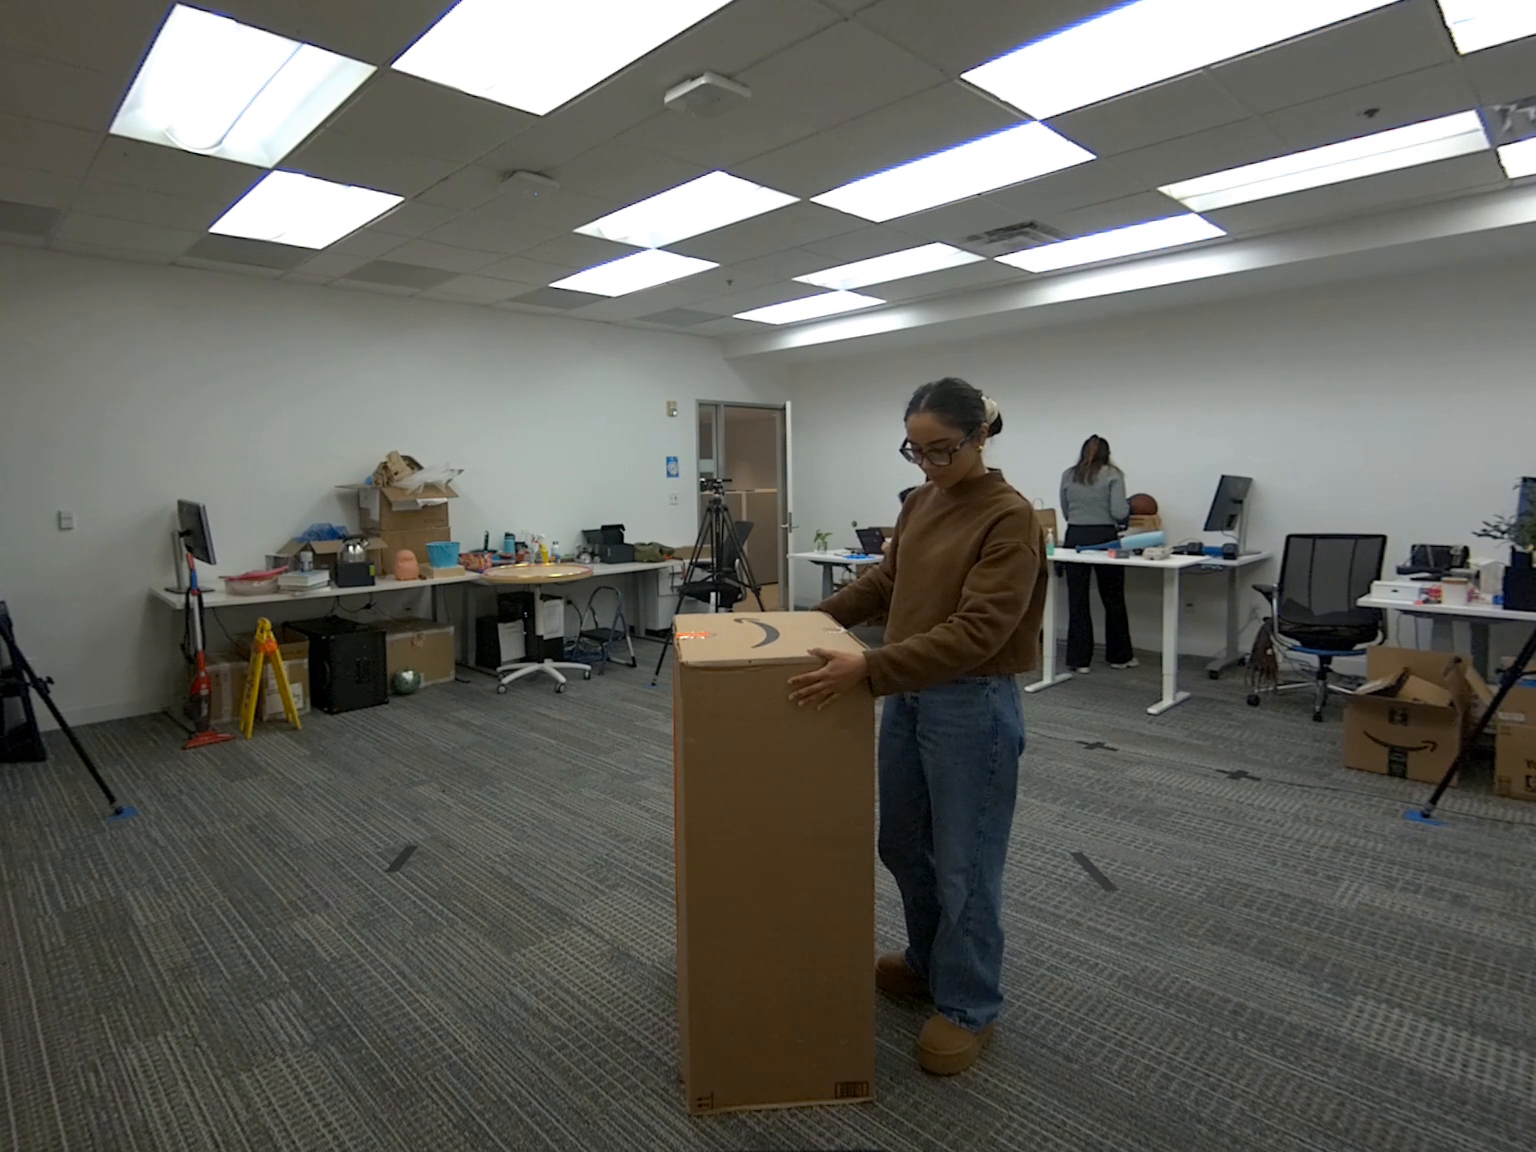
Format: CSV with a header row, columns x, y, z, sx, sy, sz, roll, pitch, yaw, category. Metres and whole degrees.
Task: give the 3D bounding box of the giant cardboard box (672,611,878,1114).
x,y,z,sx,sy,sz,roll,pitch,yaw,category
-0.008,0.655,2.136,0.424,1.020,0.584,-1,6,-7,giant cardboard box
